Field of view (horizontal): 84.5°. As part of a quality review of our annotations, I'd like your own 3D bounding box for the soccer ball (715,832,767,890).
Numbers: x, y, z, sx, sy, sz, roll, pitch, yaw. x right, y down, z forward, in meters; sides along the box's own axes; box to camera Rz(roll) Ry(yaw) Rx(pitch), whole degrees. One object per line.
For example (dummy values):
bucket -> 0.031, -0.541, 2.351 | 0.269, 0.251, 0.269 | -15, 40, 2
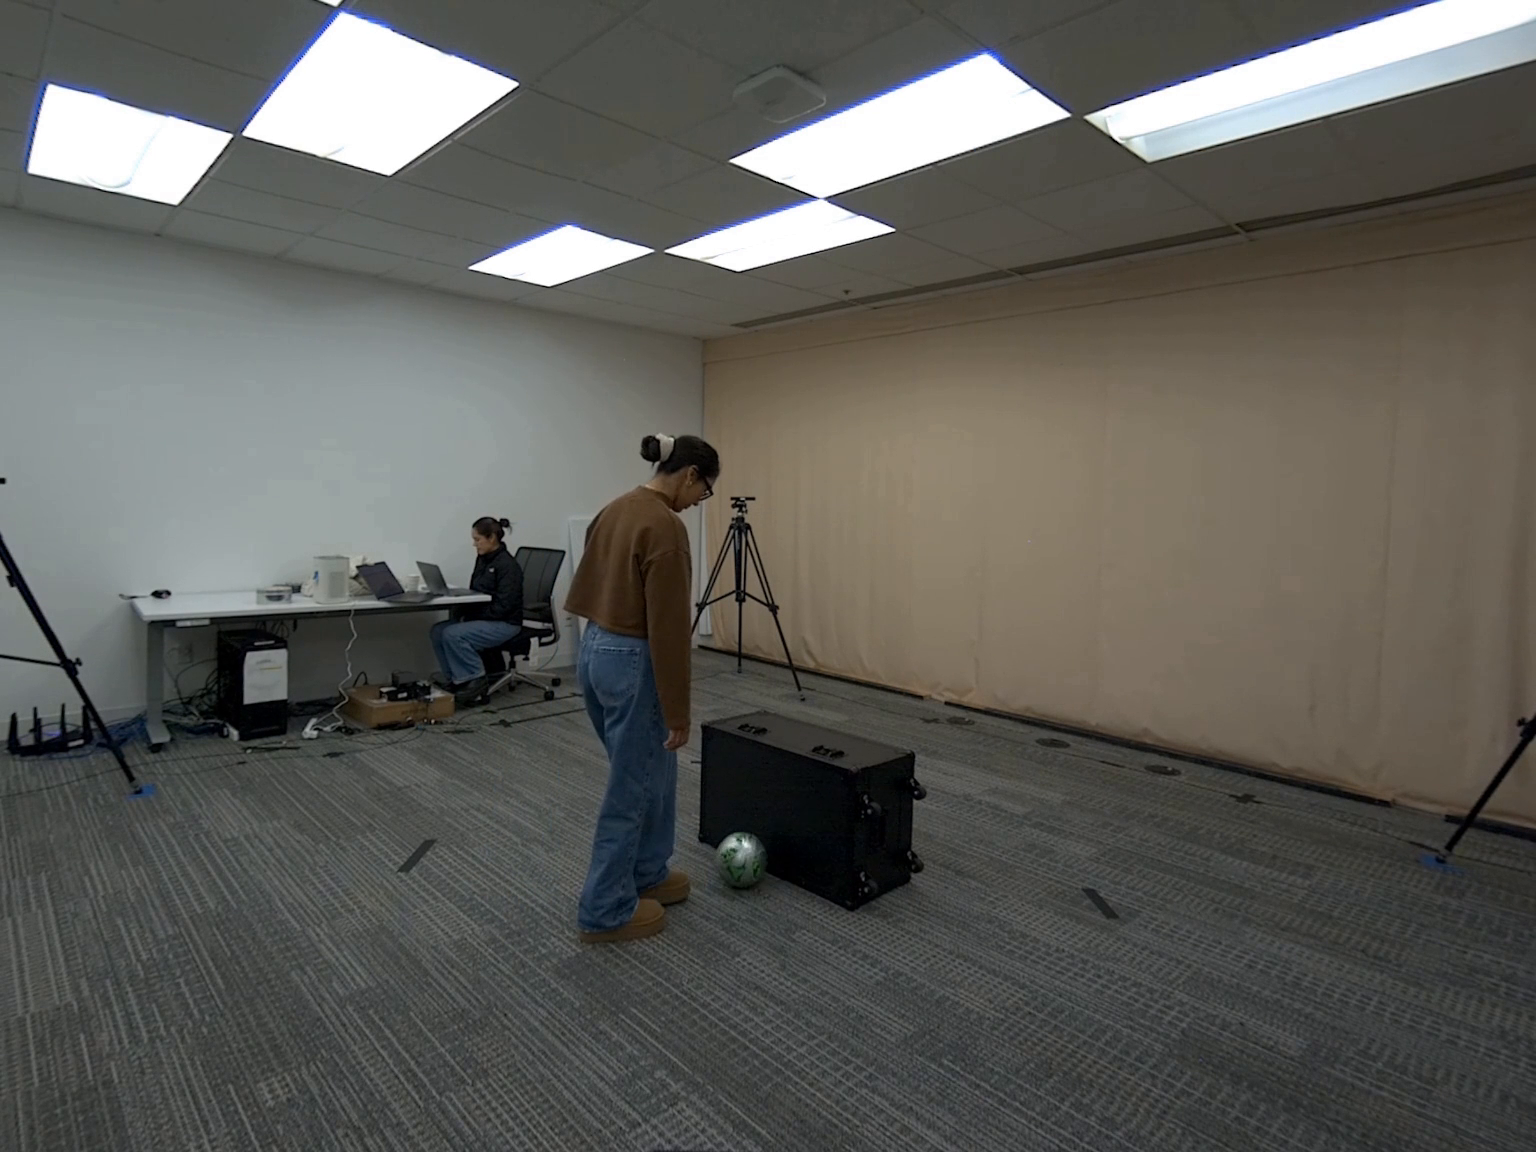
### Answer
soccer ball -> -0.104, 1.011, 3.033 | 0.187, 0.187, 0.188 | 1, 4, -1
